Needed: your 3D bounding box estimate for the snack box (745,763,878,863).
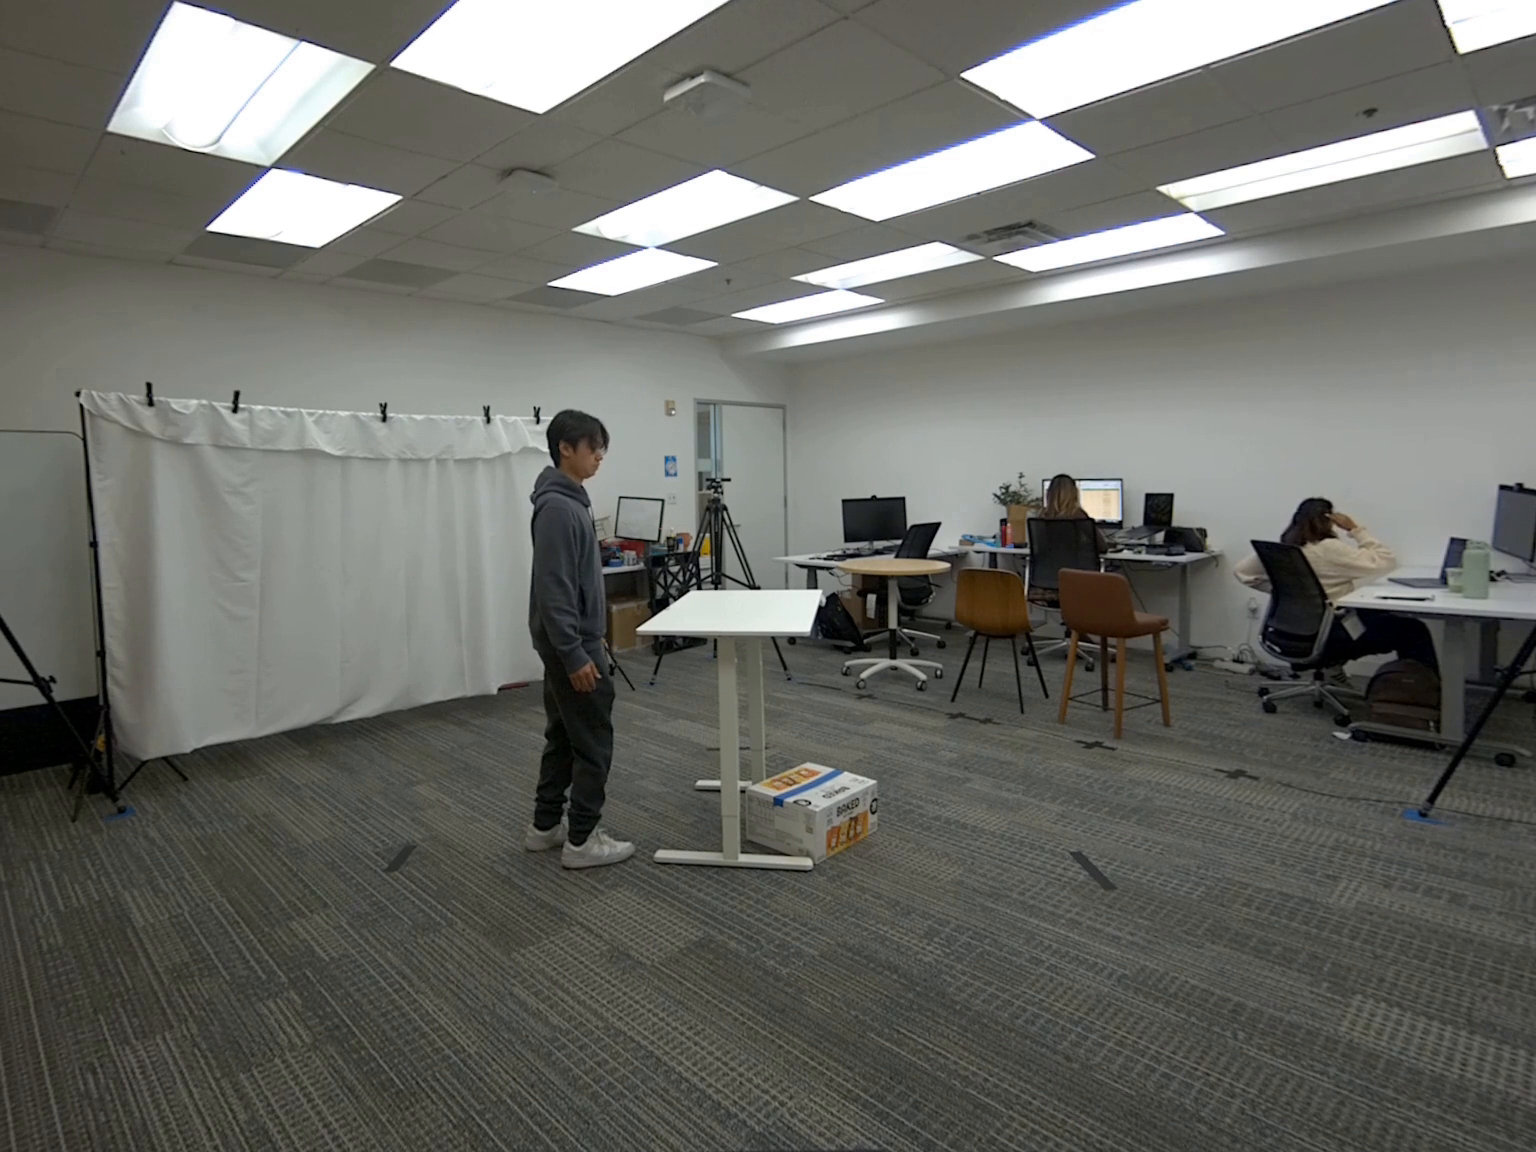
[{"bbox_3d":[0.173,0.909,3.323,0.351,0.205,0.395,4,7,41],"label":"snack box"}]
